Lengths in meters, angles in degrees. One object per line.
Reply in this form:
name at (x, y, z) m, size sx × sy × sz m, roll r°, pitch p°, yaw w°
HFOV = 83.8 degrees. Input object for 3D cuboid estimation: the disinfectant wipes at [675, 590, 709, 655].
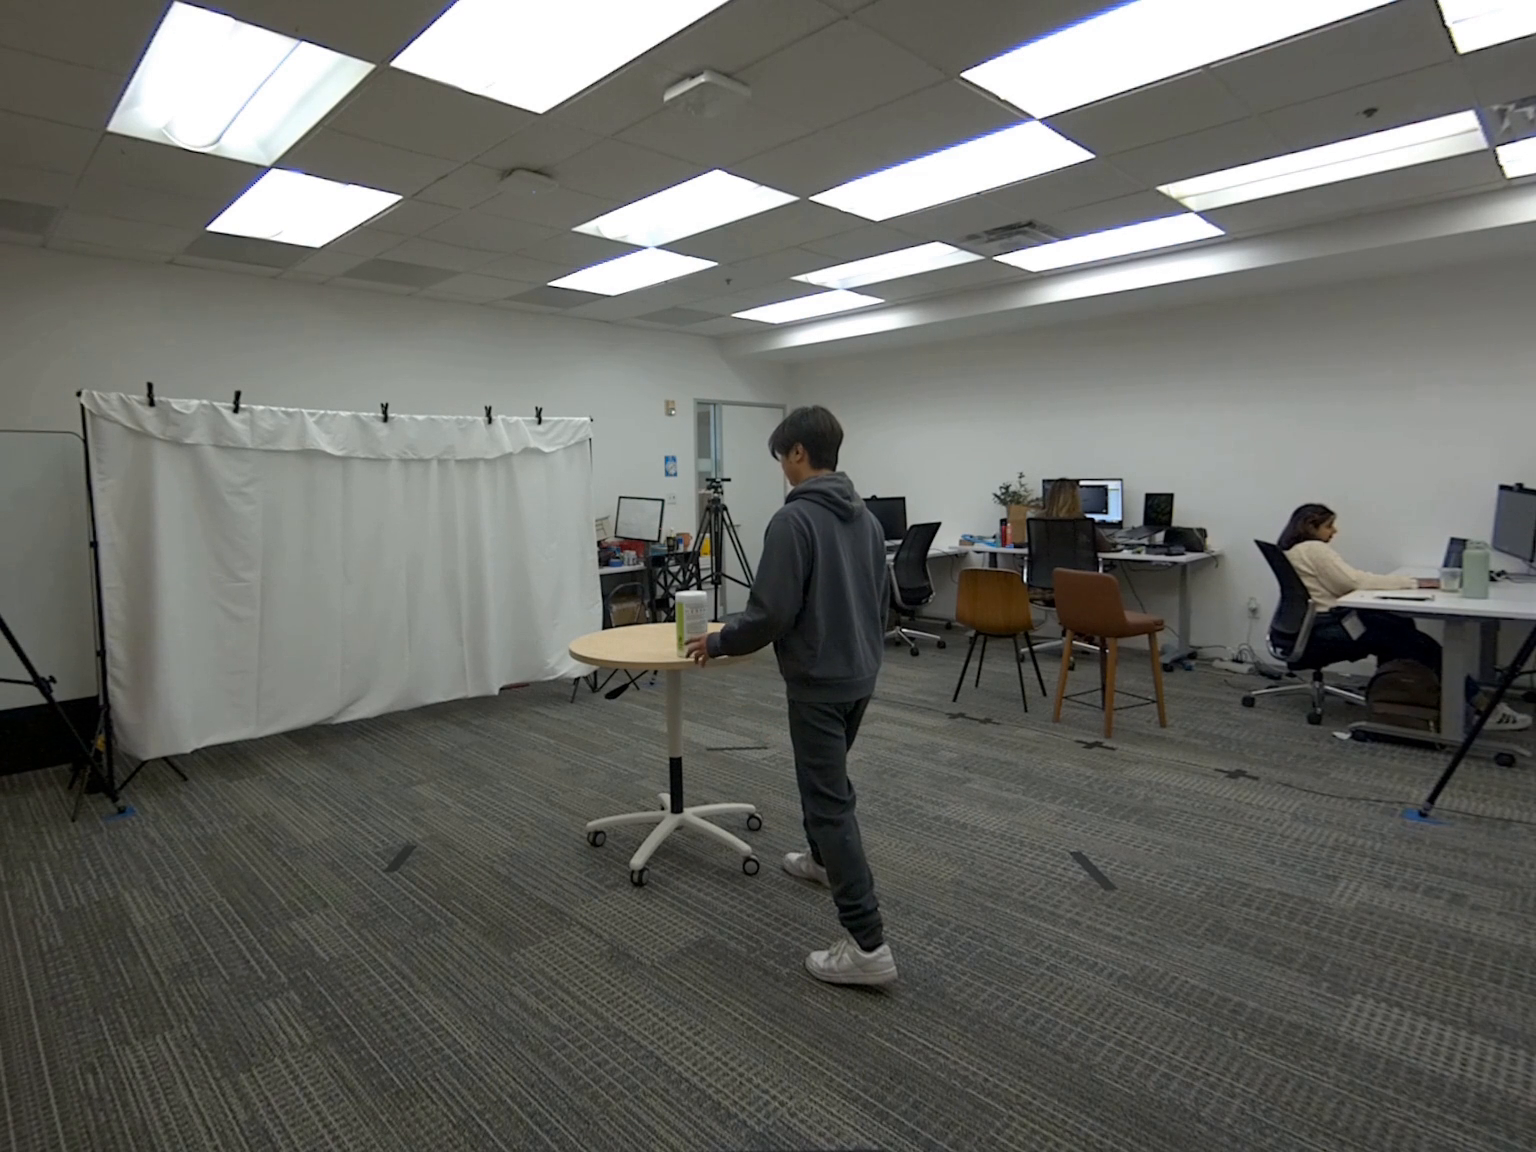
disinfectant wipes at (-0.252, 0.157, 2.901) m, size 0.118 × 0.216 × 0.118 m, roll -3°, pitch 6°, yaw -1°
